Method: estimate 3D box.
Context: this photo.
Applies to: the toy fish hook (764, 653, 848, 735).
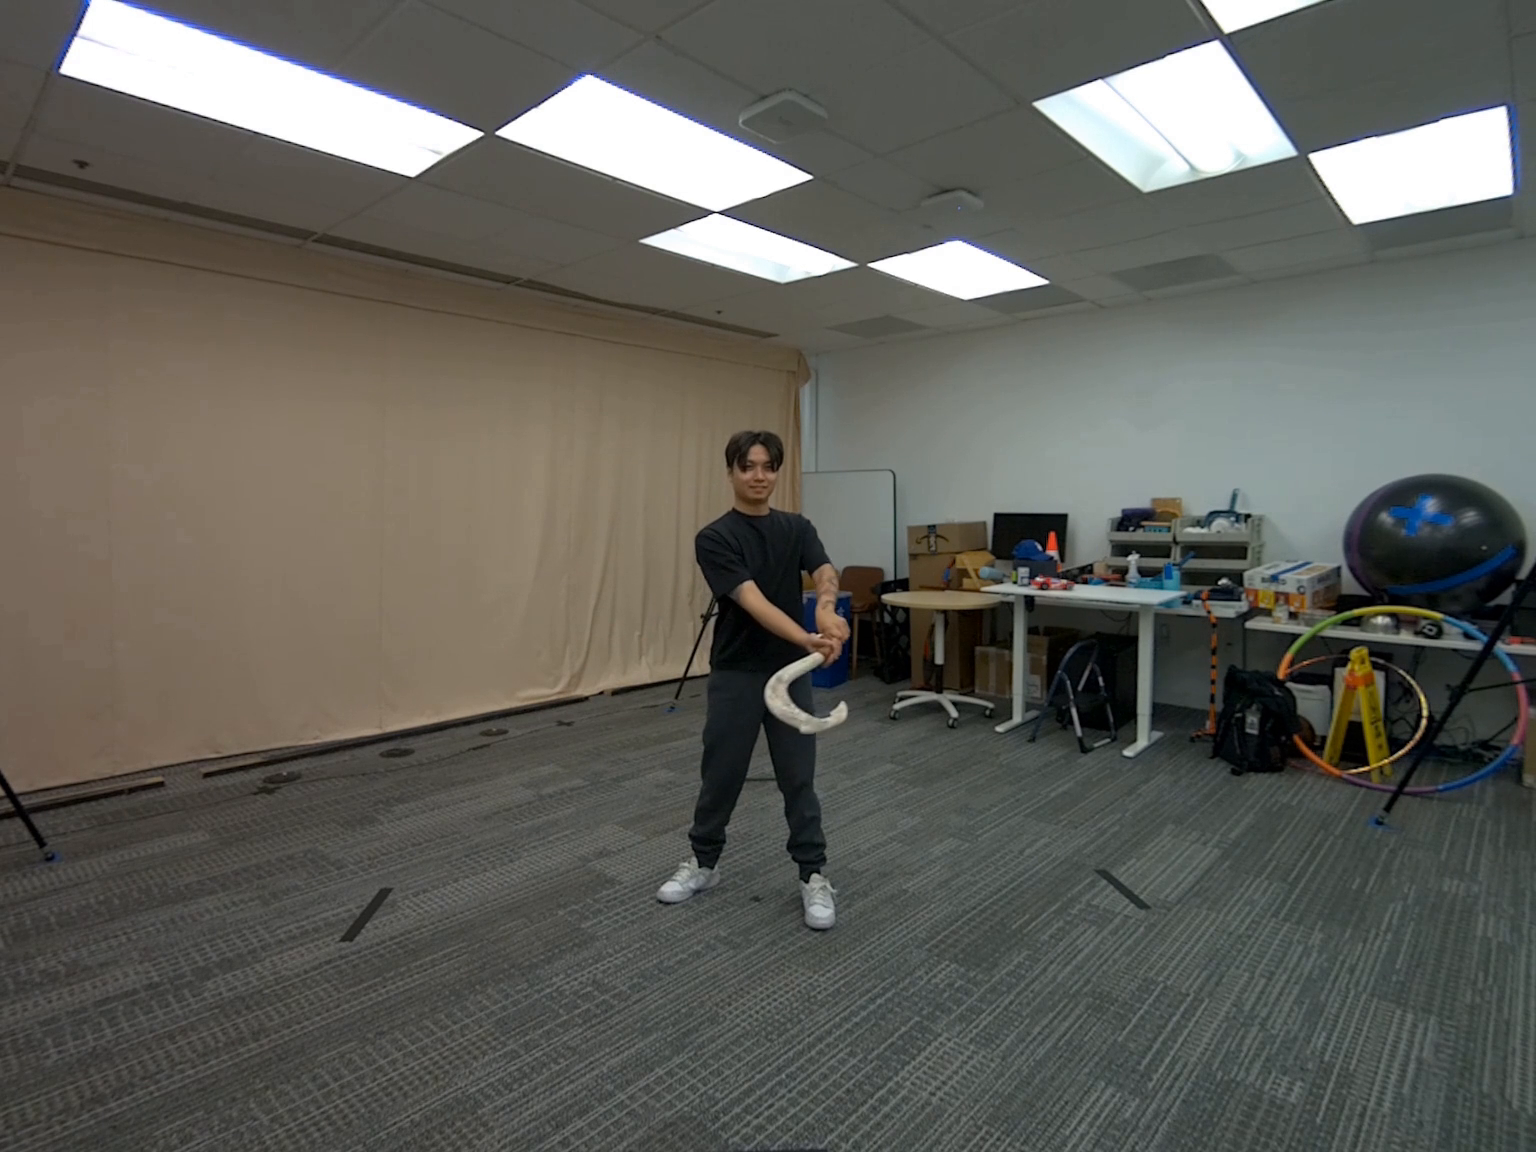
[{"bbox_3d":[0.174,0.271,2.412,0.228,0.048,0.500,31,34,12],"label":"toy fish hook"}]
